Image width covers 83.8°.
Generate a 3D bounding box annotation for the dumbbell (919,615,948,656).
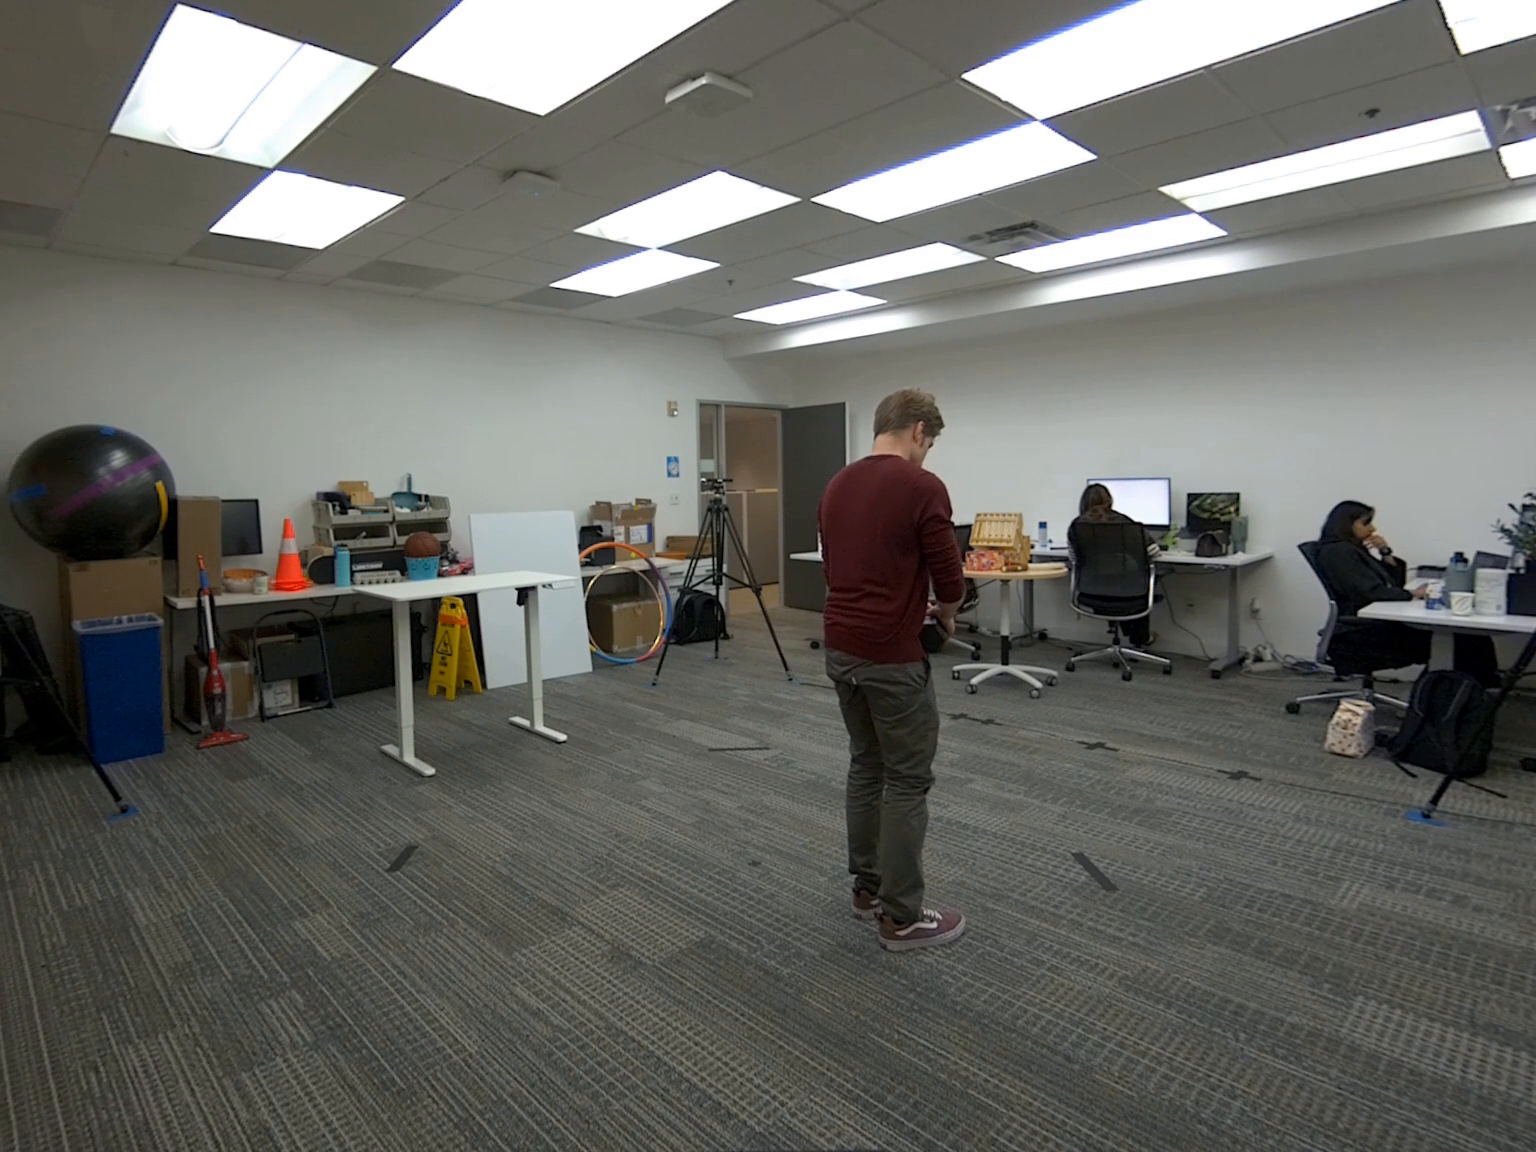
[{"bbox_3d":[0.538,0.159,2.853,0.109,0.122,0.293,28,22,4],"label":"dumbbell"}]
